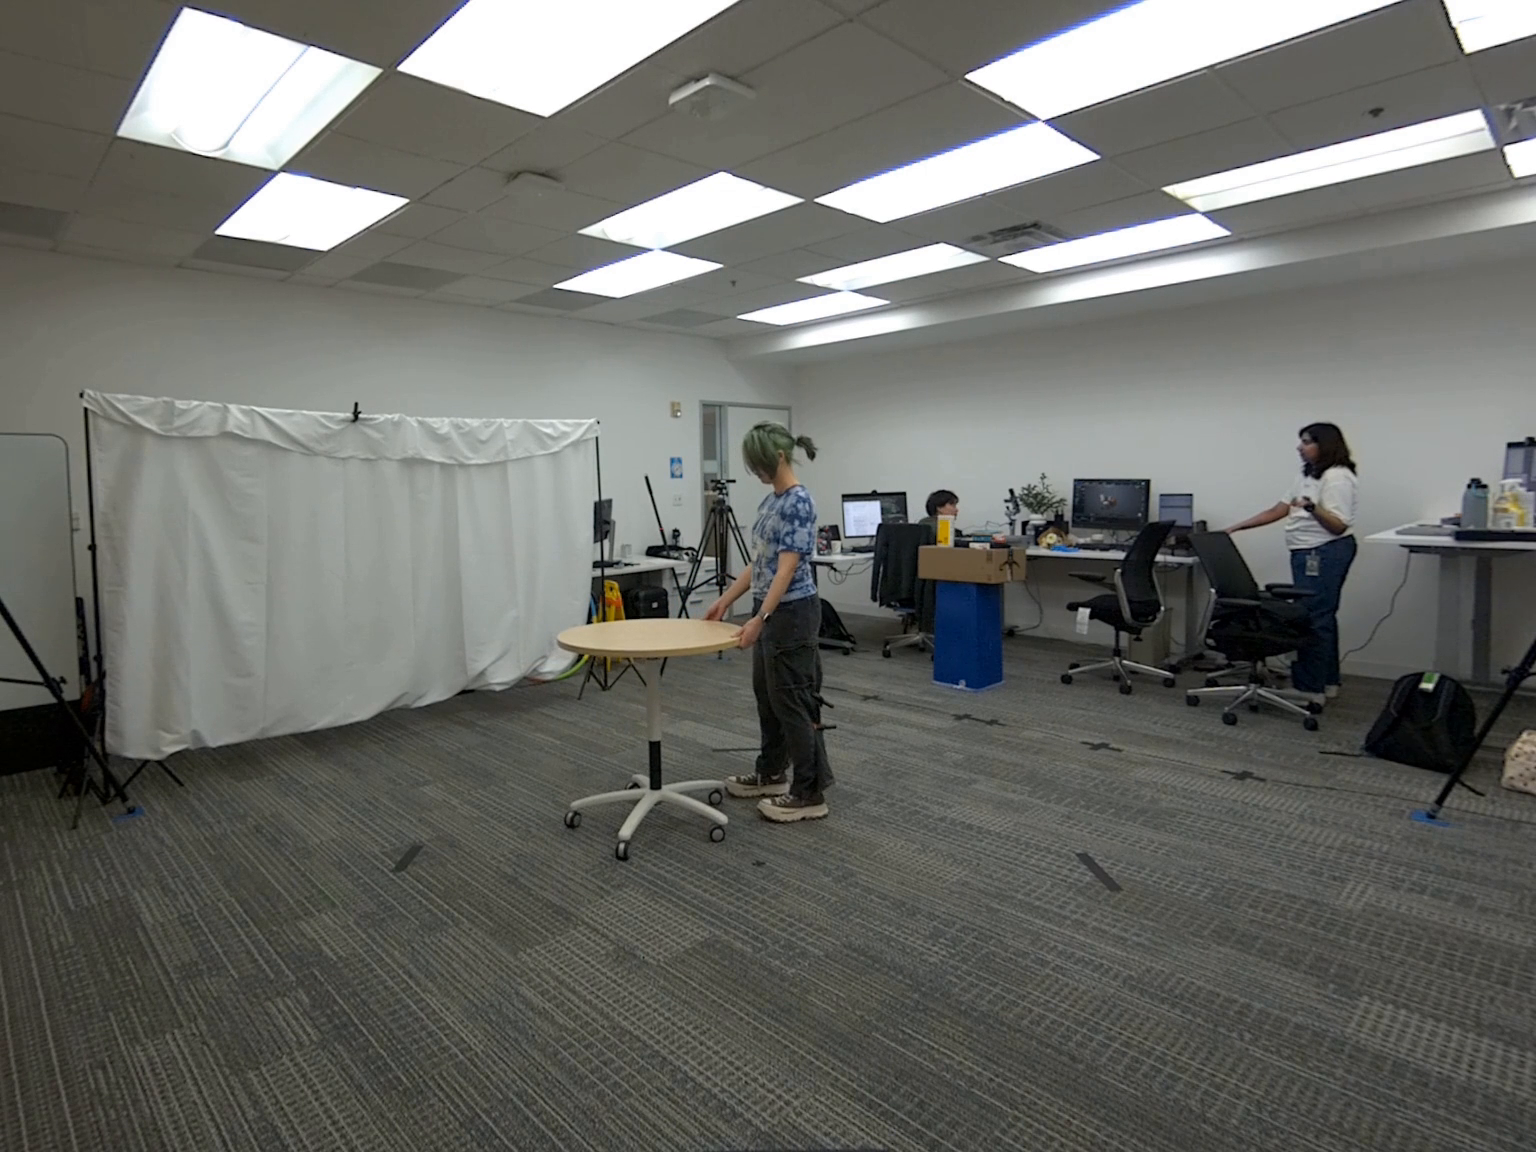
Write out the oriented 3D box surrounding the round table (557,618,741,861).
[{"bbox_3d":[-0.464,0.624,3.477,0.763,0.791,0.767,-1,4,-2],"label":"round table"}]
